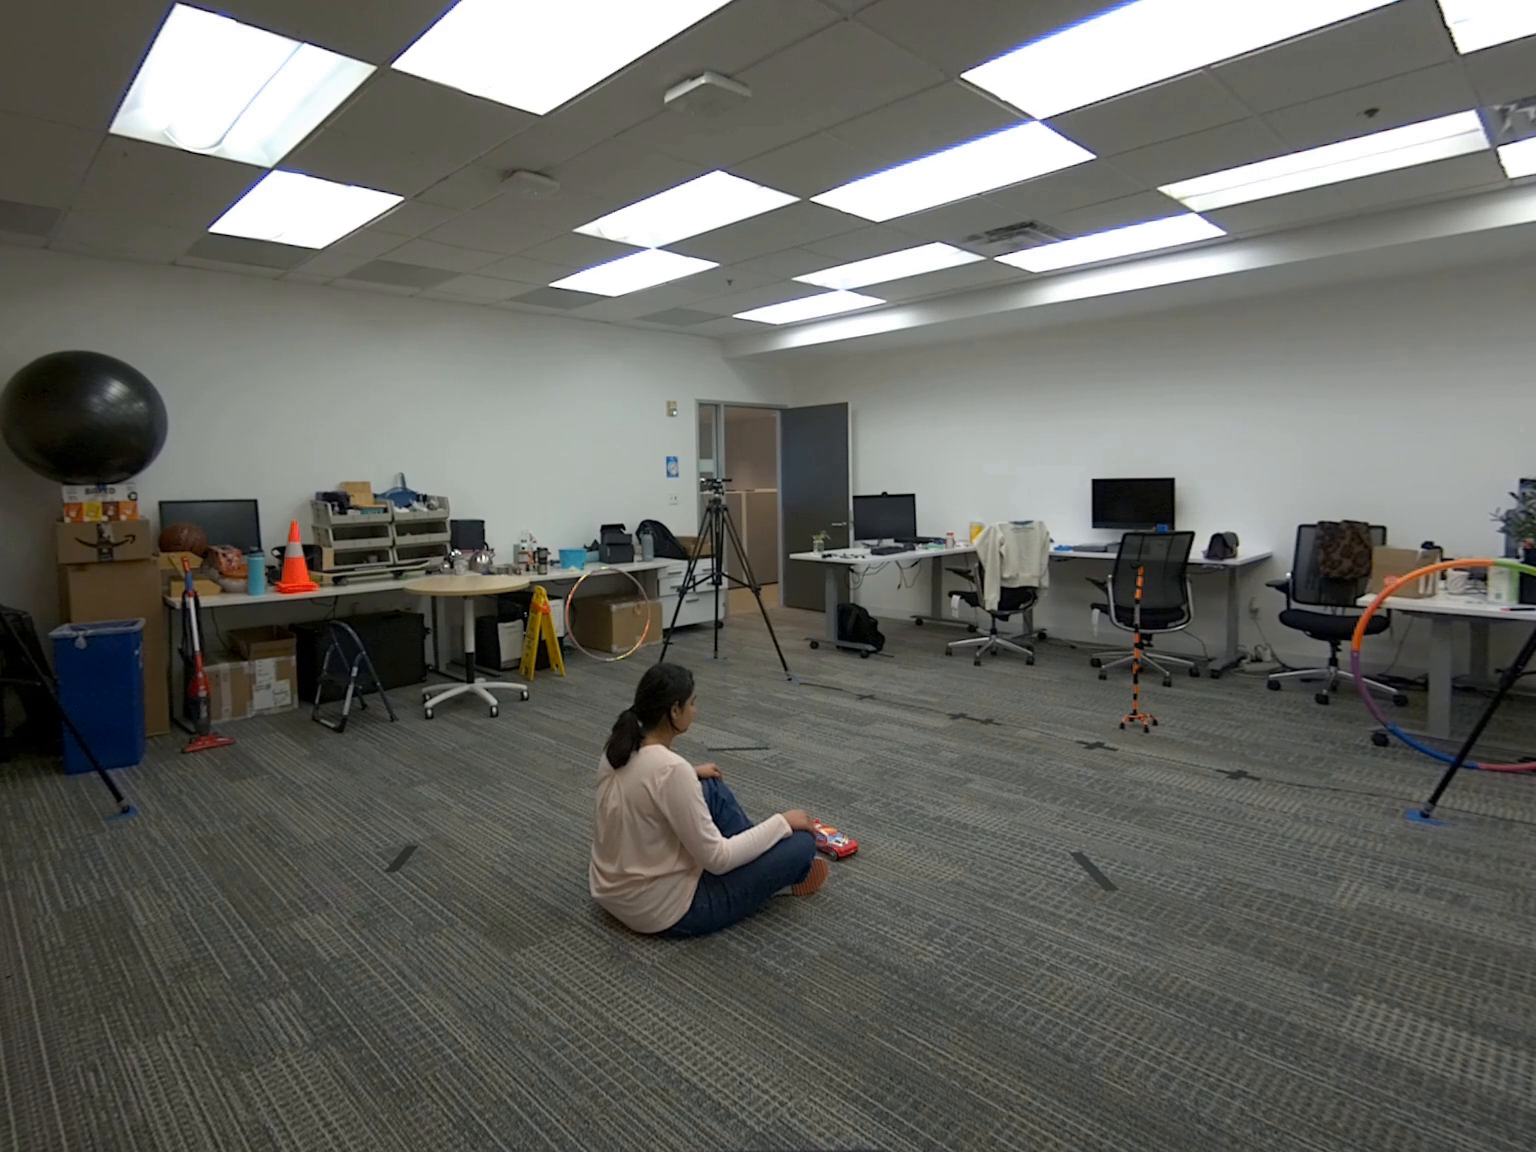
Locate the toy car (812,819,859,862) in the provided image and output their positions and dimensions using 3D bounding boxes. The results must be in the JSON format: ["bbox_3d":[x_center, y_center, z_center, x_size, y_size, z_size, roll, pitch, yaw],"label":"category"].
[{"bbox_3d":[0.217,0.984,3.221,0.127,0.082,0.264,-5,18,-37],"label":"toy car"}]
